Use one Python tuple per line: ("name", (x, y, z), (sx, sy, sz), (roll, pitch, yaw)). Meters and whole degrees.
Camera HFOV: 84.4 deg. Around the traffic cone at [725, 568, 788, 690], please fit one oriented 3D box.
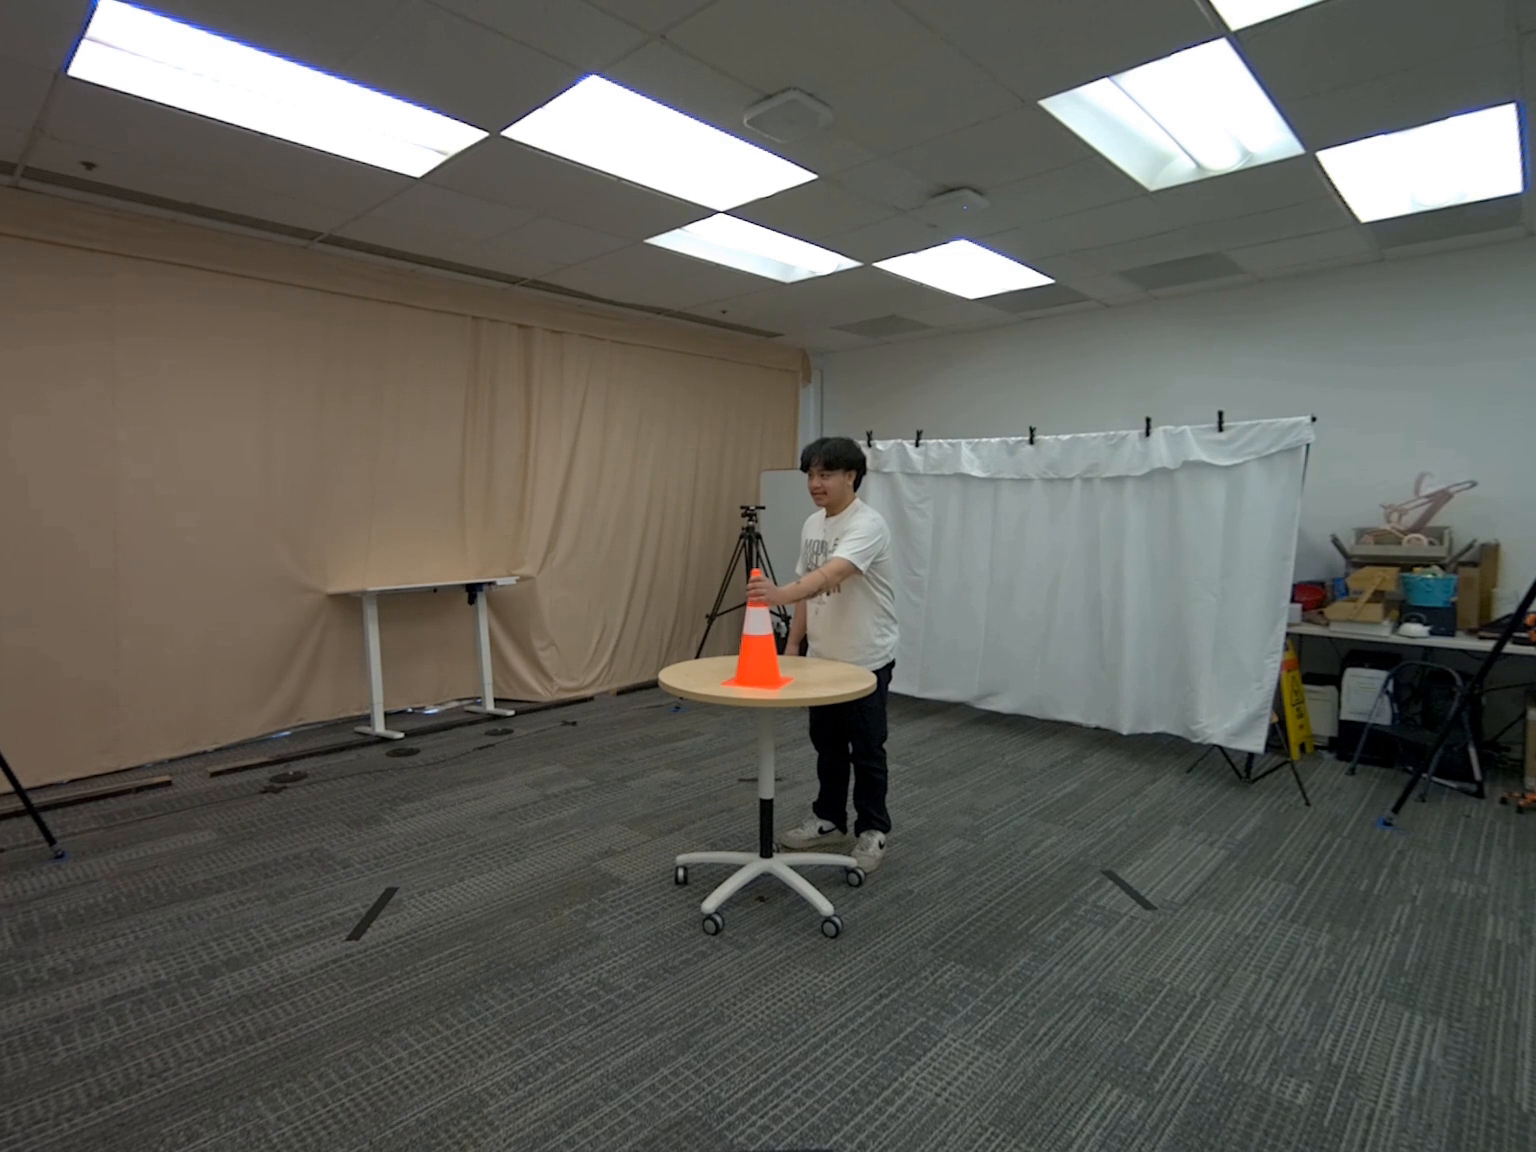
("traffic cone", (-0.038, 0.170, 2.845), (0.209, 0.383, 0.199), (0, 2, 21))
